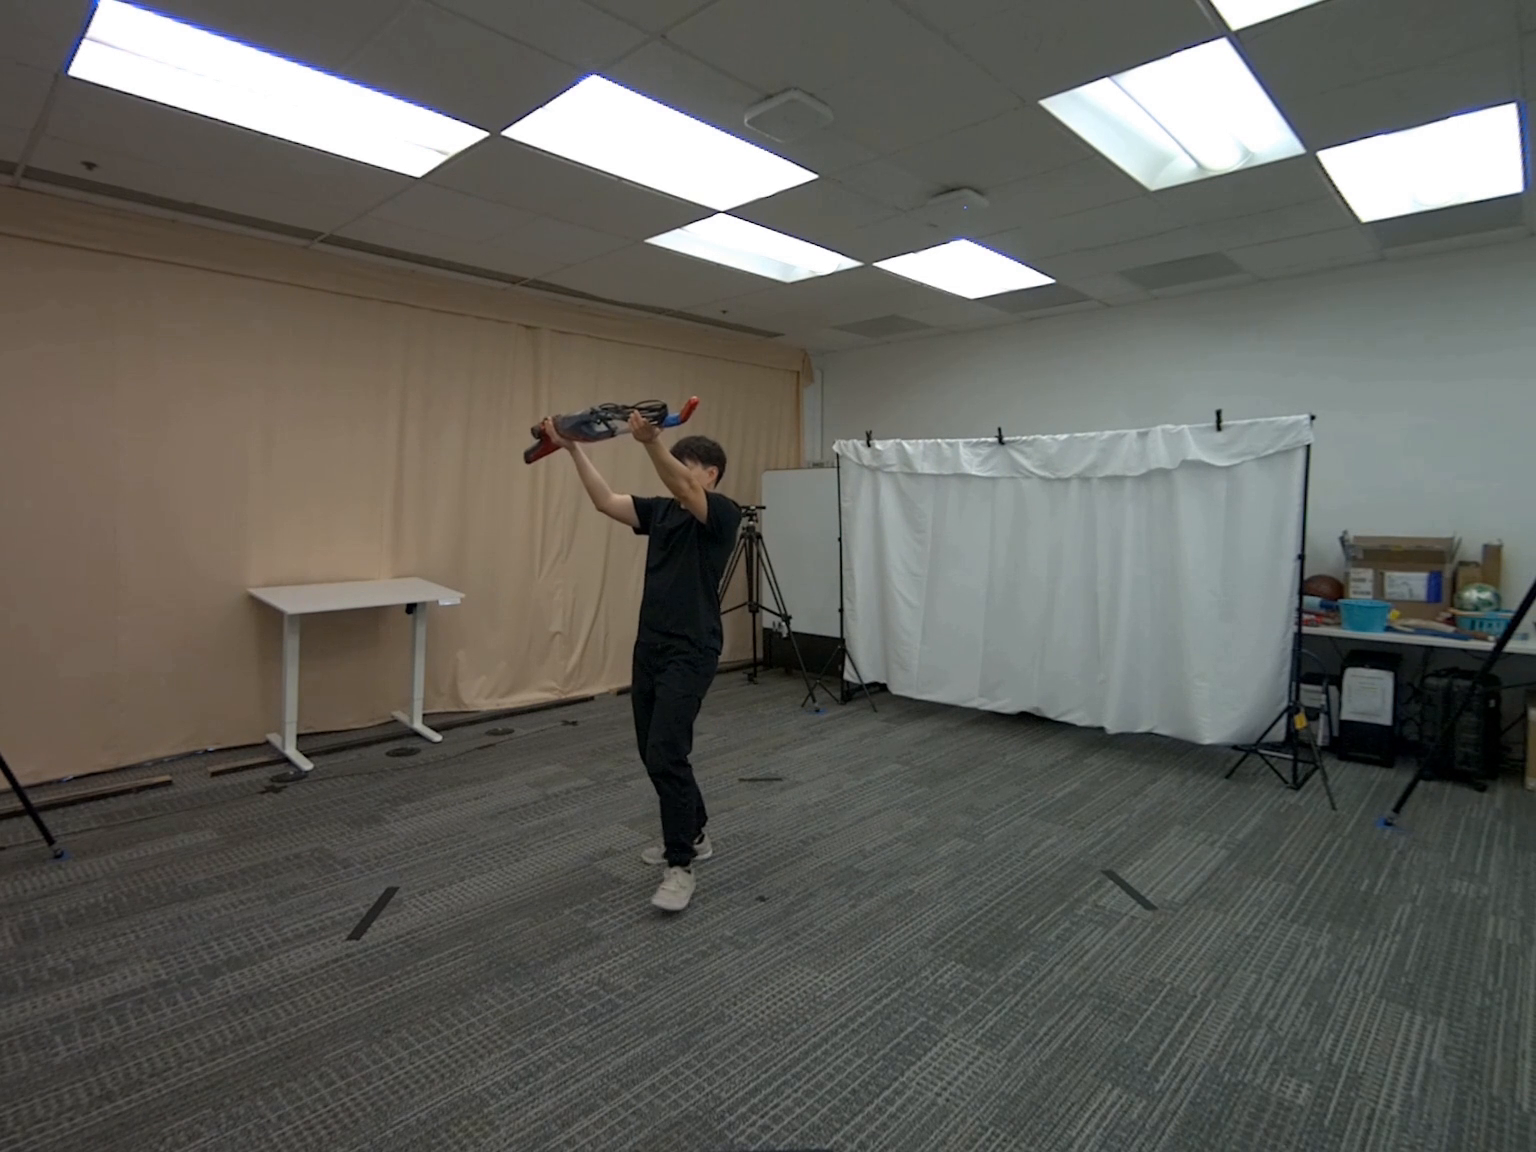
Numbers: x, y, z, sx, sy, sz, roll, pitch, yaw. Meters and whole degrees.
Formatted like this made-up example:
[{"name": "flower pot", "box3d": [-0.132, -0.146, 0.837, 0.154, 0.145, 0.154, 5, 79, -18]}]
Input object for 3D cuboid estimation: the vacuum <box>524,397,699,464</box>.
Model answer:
[{"name": "vacuum", "box3d": [-0.534, -0.525, 2.875, 0.248, 0.142, 1.082, -31, 20, -32]}]
